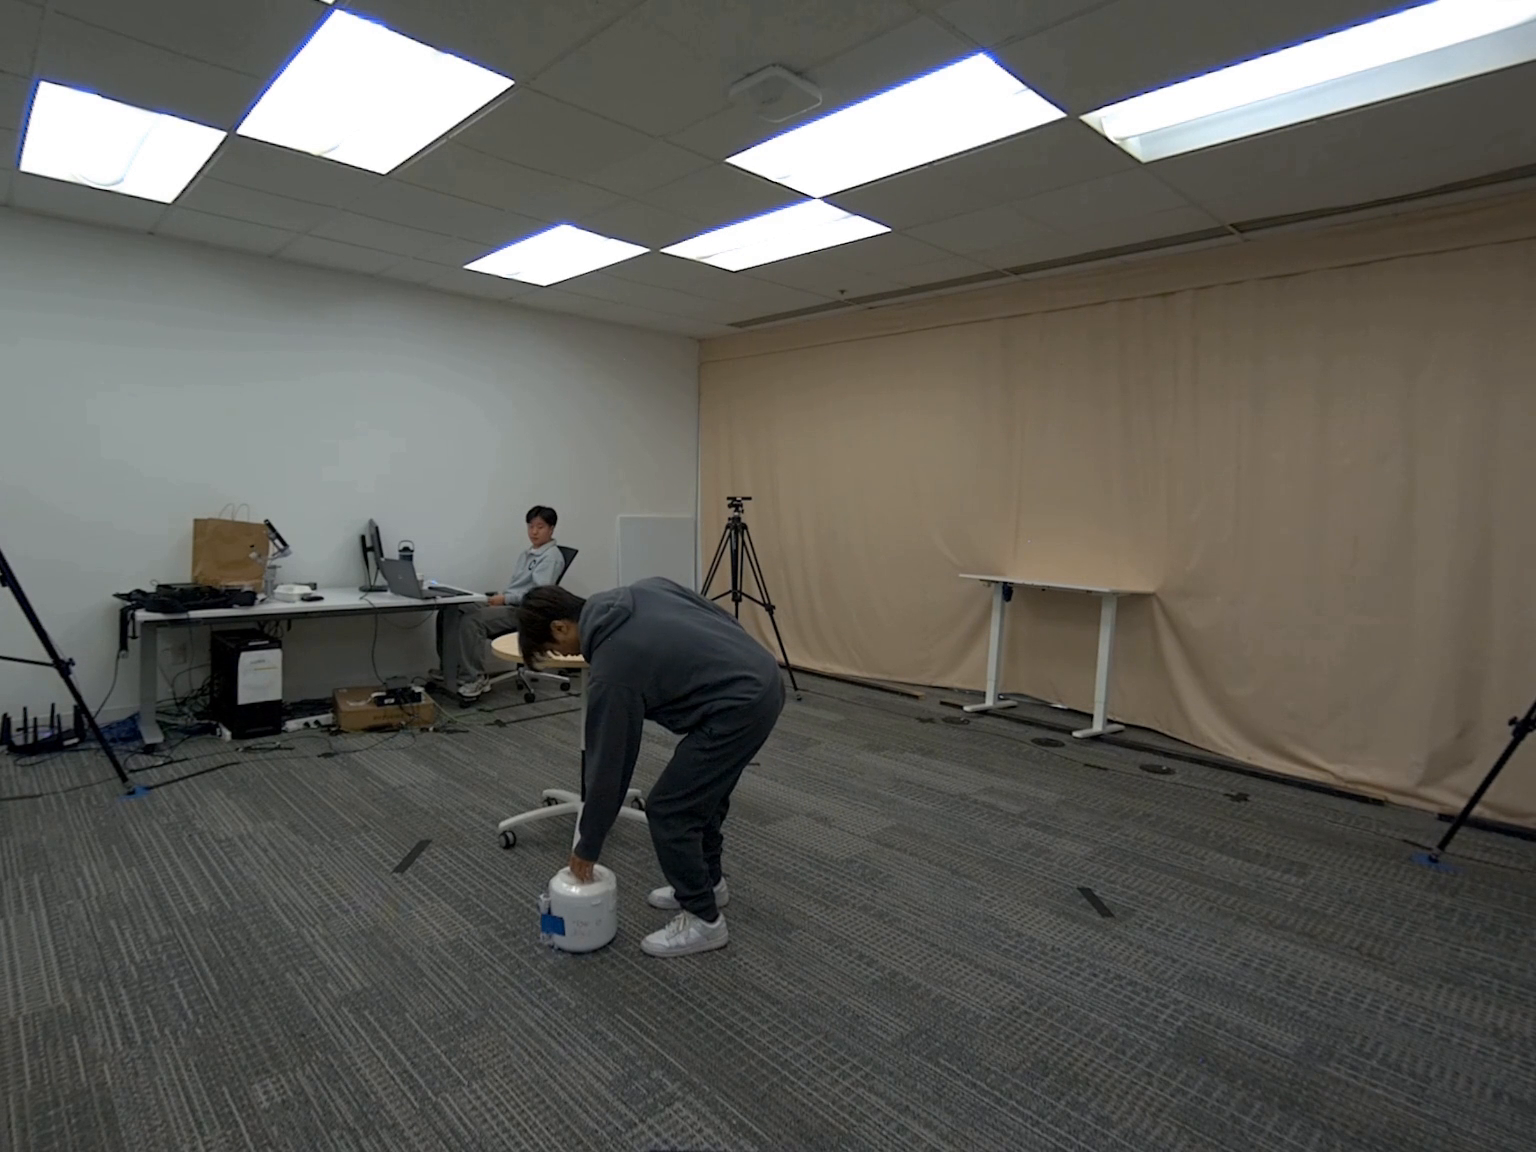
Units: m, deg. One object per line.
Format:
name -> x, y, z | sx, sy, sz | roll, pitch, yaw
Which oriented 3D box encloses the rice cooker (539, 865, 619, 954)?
rice cooker -> -0.581, 1.020, 2.636 | 0.224, 0.232, 0.214 | 3, 5, 20
